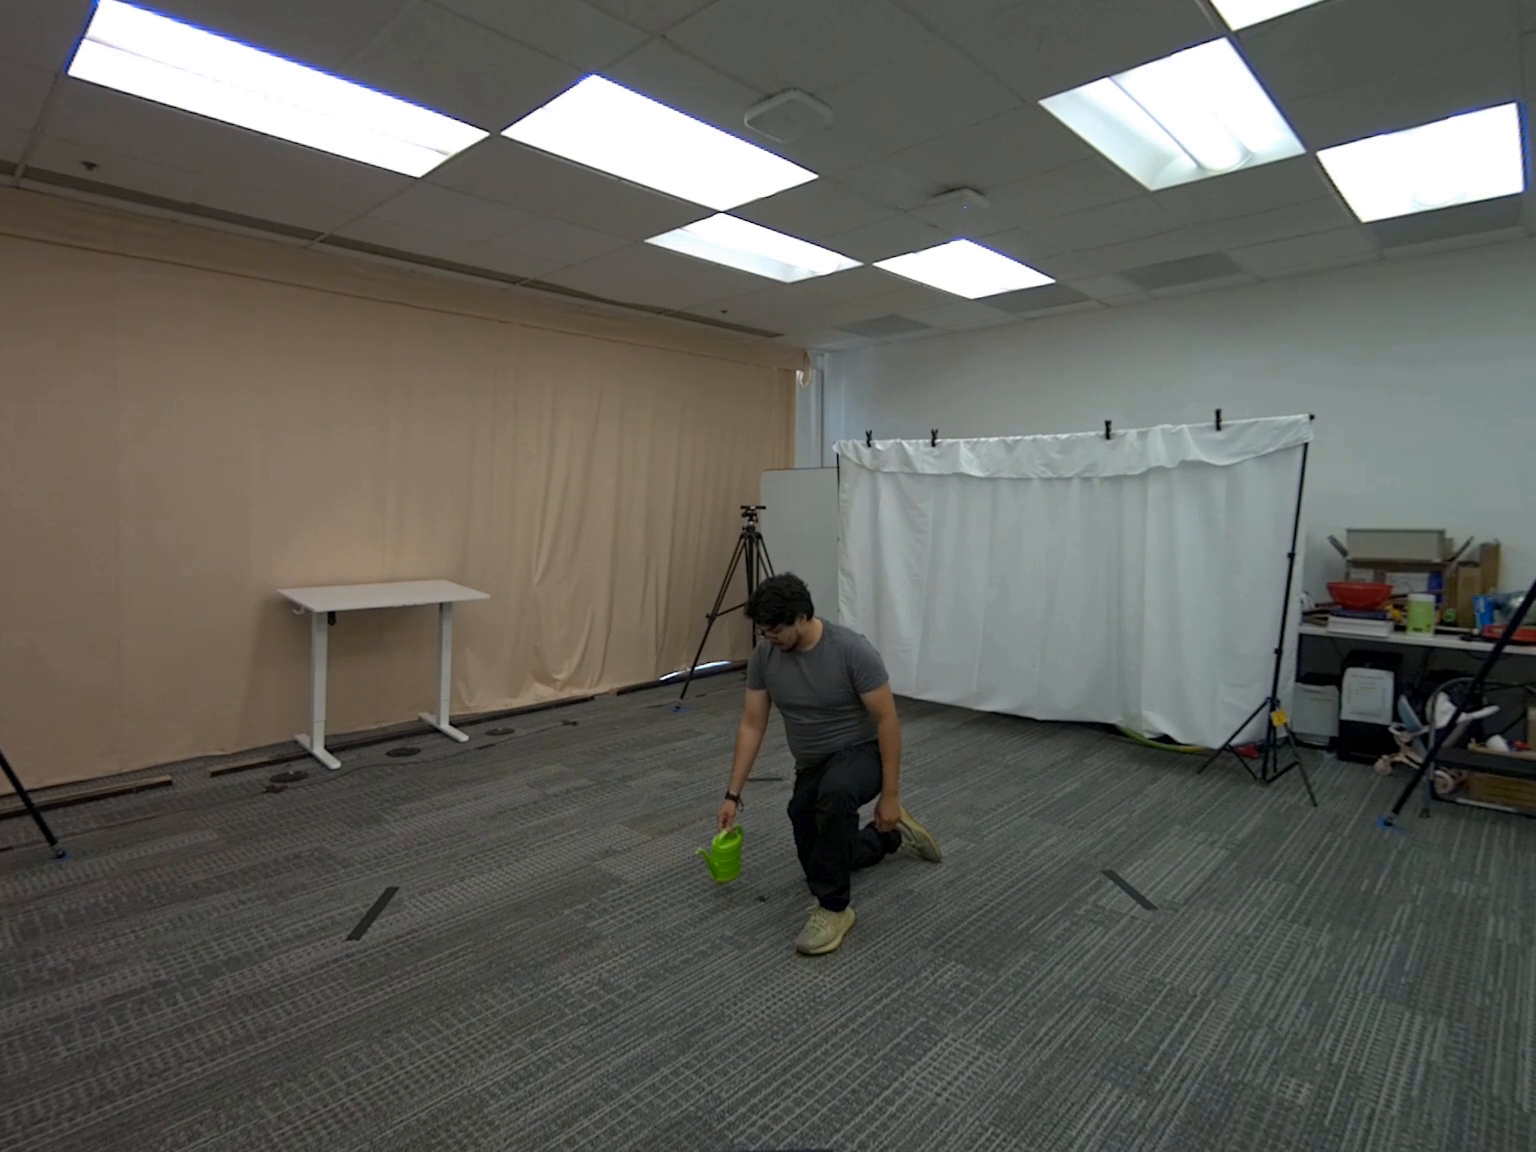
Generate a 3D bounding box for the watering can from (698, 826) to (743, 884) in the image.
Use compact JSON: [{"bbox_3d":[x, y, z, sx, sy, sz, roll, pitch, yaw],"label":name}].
[{"bbox_3d":[-0.177,0.993,2.971,0.270,0.176,0.101,-10,13,-42],"label":"watering can"}]
